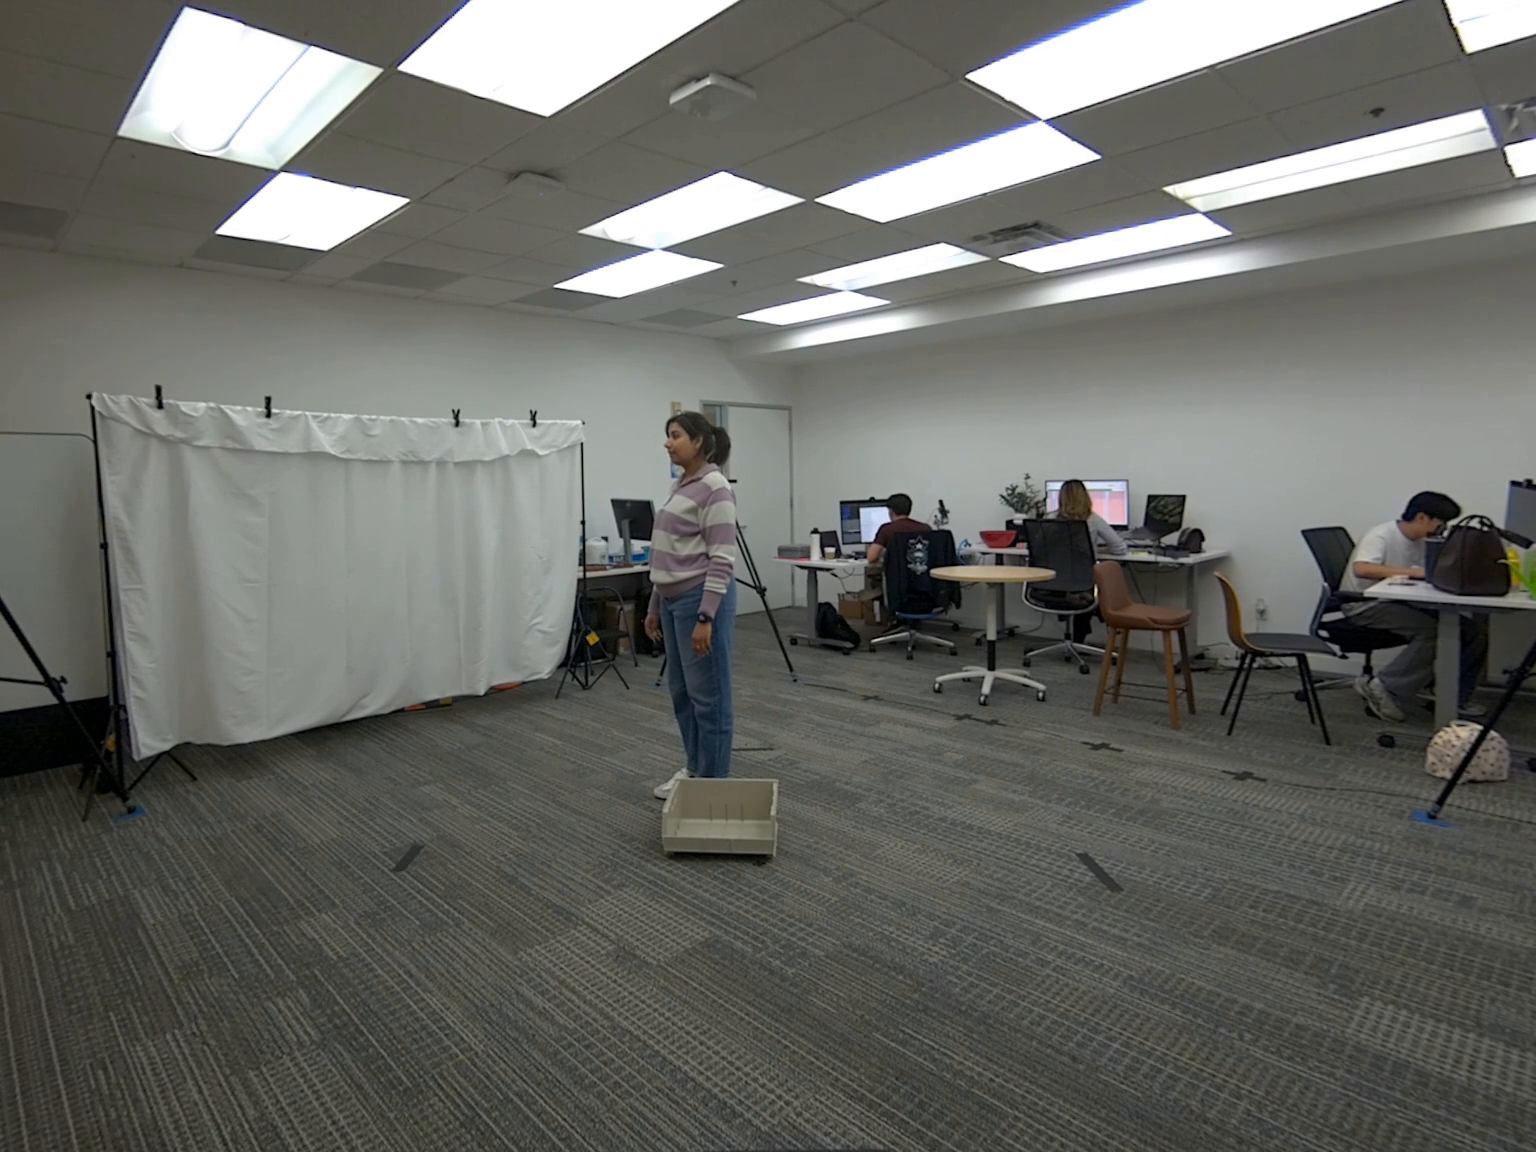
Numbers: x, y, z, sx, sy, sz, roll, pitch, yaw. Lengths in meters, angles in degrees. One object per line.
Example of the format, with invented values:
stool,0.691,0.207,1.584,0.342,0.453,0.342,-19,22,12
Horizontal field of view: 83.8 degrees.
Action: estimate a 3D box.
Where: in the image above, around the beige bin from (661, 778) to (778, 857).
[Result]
beige bin,-0.174,0.935,3.304,0.424,0.188,0.377,0,5,4
